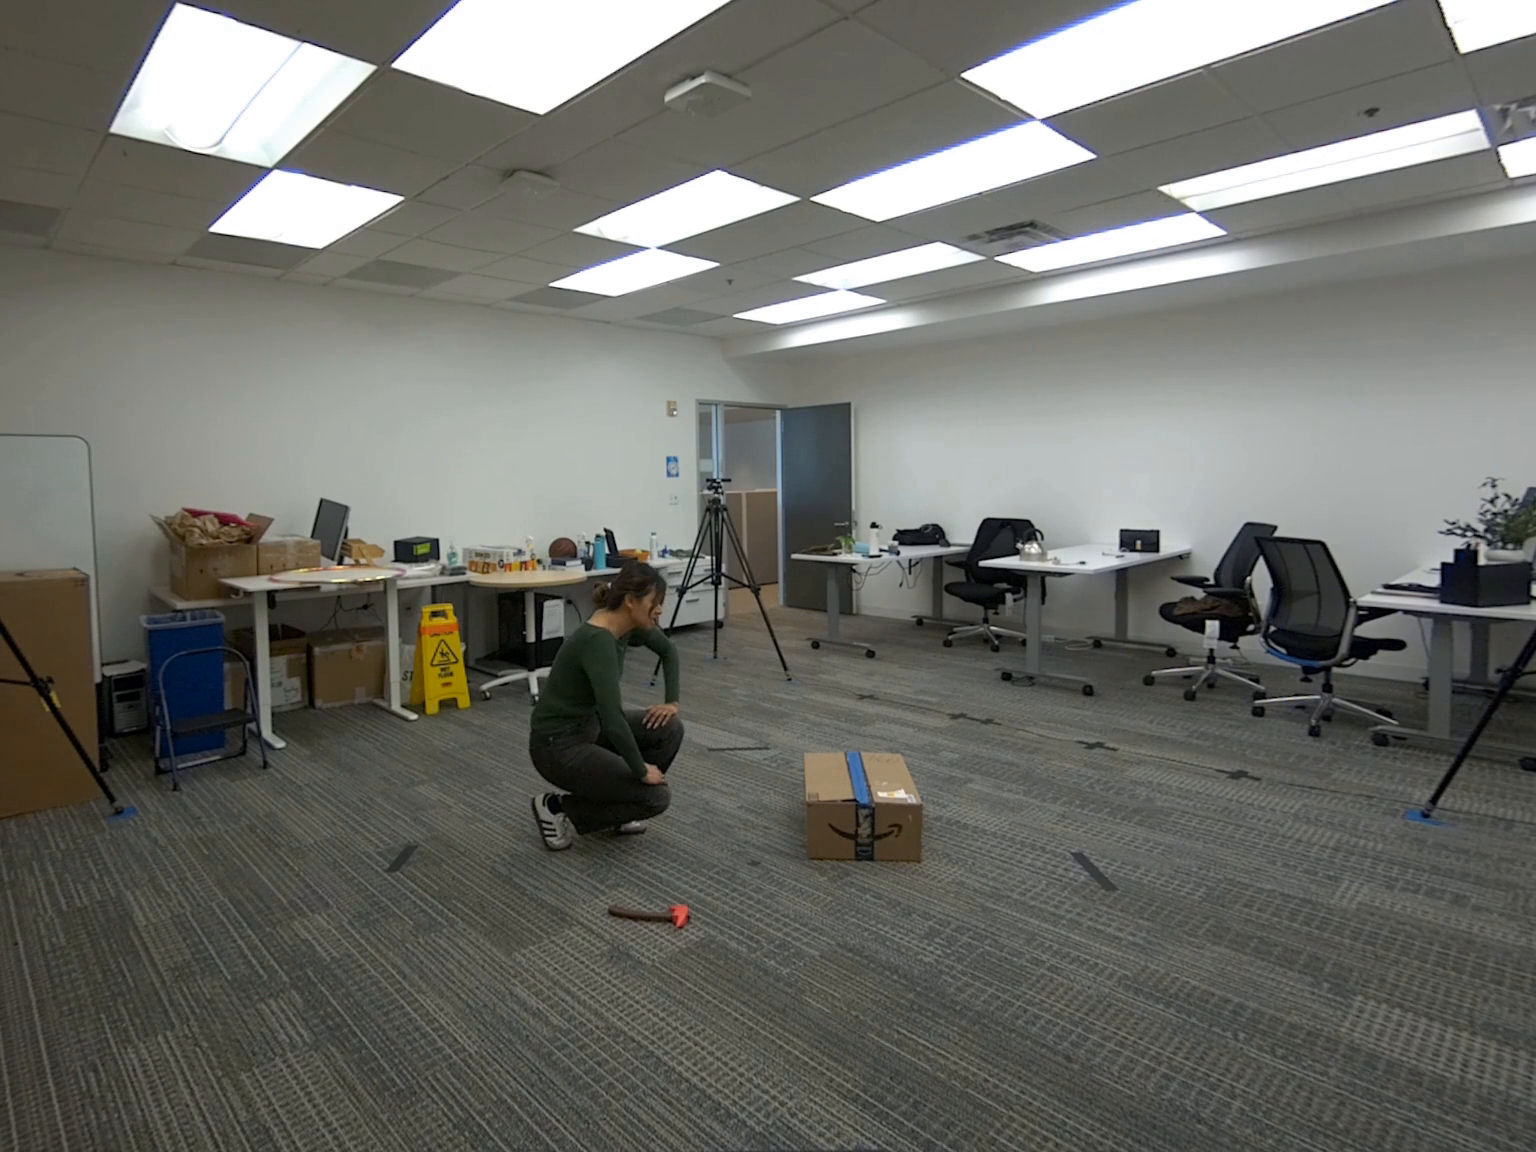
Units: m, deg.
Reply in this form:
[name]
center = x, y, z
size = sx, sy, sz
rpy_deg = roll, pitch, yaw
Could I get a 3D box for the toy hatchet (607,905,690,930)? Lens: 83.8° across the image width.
[toy hatchet]
center = -0.367, 1.078, 2.752
size = 0.276, 0.029, 0.129
rpy_deg = 1, 7, 25
